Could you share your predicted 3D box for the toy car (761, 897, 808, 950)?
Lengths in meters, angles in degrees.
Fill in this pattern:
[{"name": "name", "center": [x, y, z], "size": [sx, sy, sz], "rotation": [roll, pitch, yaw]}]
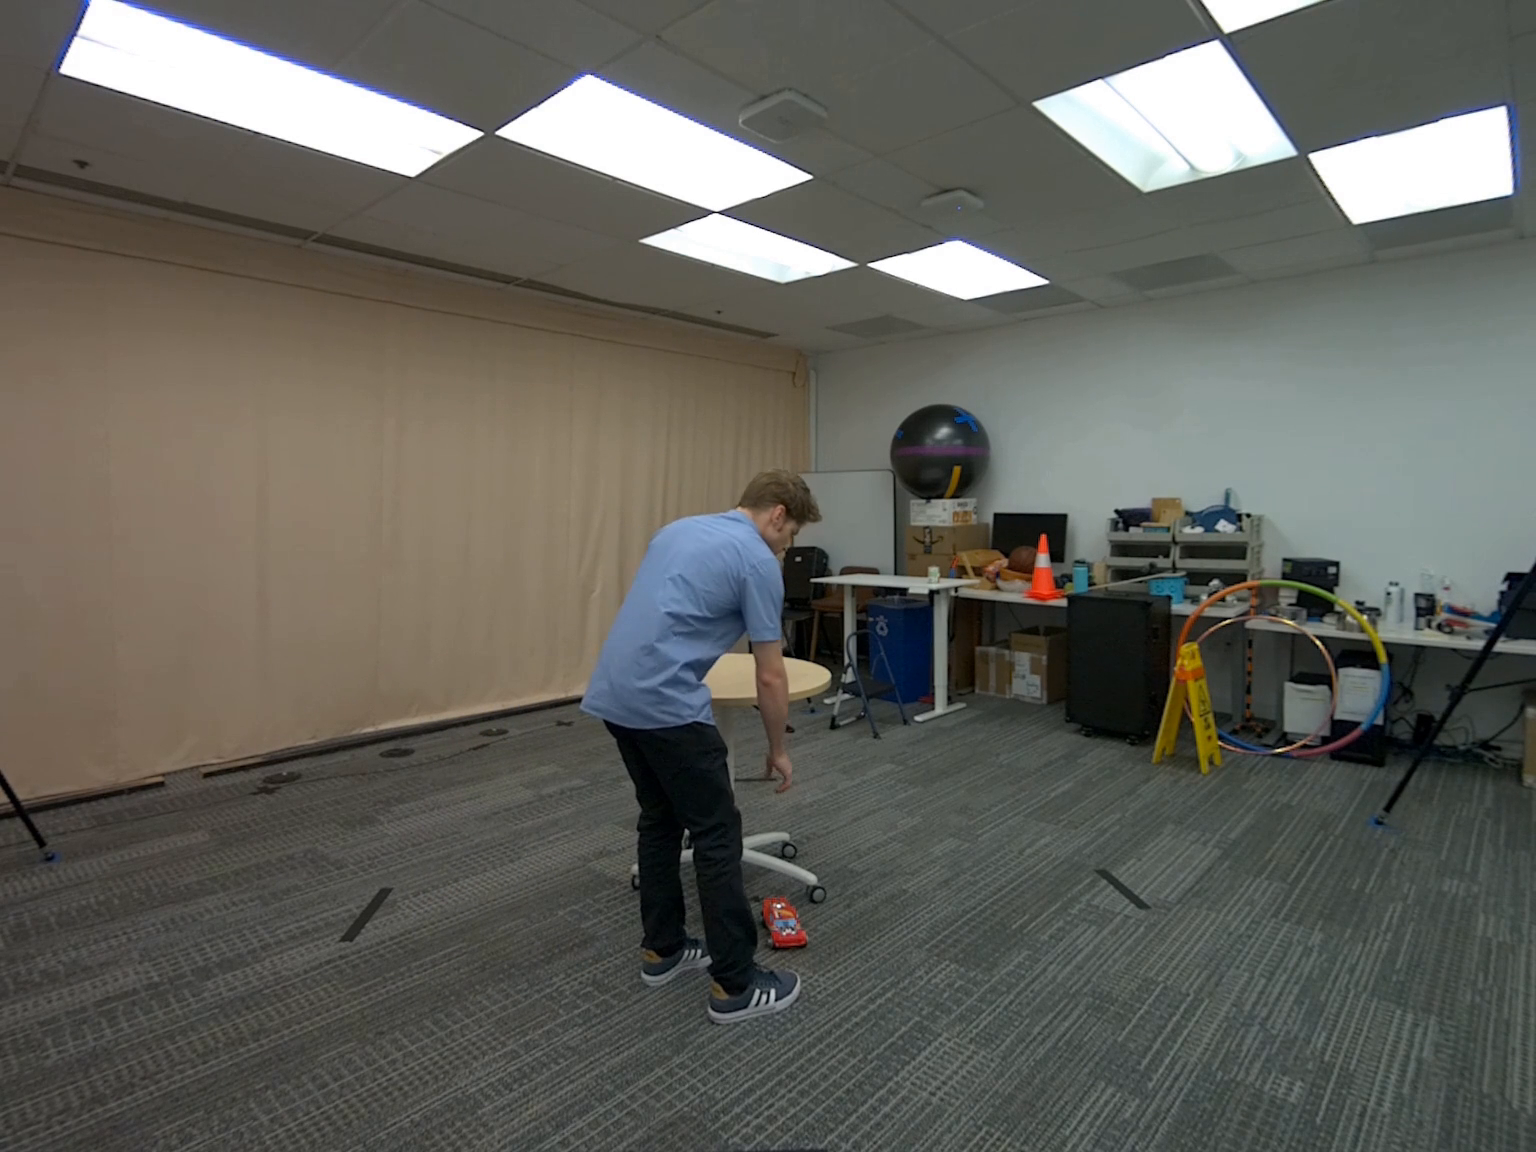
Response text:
[{"name": "toy car", "center": [0.049, 1.135, 2.736], "size": [0.129, 0.082, 0.259], "rotation": [0, 15, -10]}]
